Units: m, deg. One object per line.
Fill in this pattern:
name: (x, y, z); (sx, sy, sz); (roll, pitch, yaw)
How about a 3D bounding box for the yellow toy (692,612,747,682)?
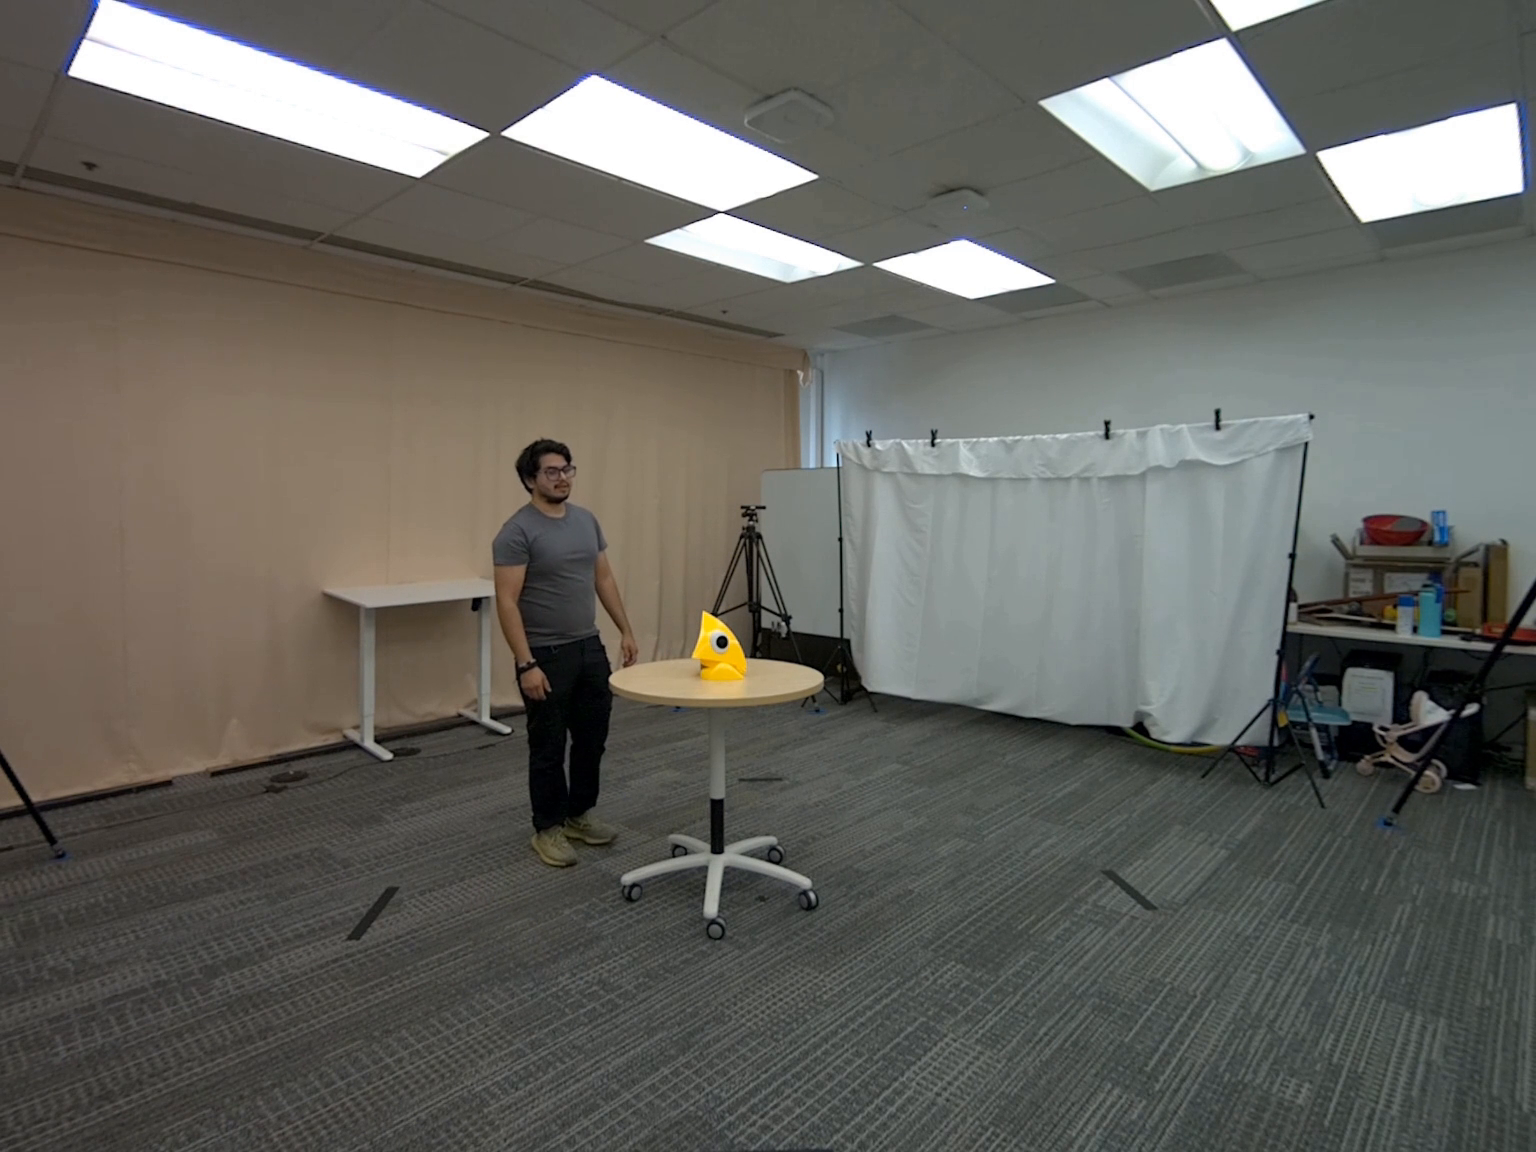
yellow toy: (-0.167, 0.244, 3.031); (0.194, 0.230, 0.204); (1, 3, 4)
